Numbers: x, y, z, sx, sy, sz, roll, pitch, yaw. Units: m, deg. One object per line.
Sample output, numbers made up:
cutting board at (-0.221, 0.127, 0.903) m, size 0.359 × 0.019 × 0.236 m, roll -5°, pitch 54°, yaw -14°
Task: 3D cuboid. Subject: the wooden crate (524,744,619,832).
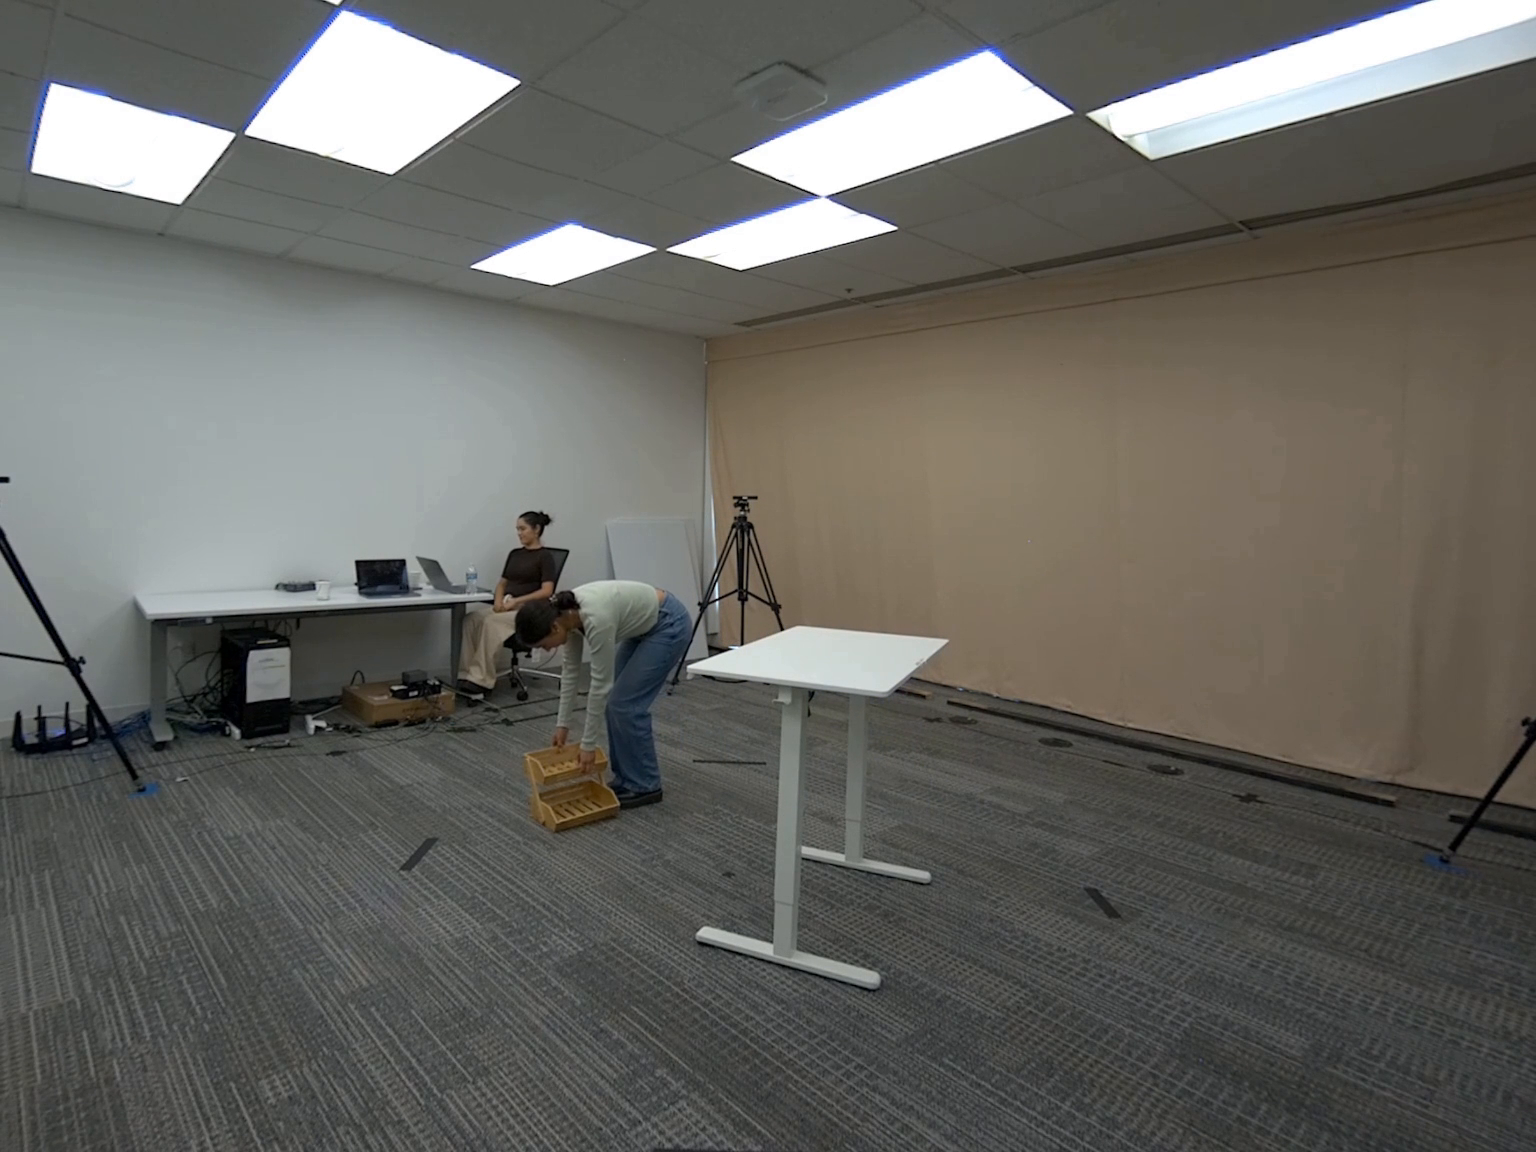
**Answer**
wooden crate at (-0.858, 0.895, 3.632) m, size 0.317 × 0.272 × 0.309 m, roll -5°, pitch 6°, yaw -39°
